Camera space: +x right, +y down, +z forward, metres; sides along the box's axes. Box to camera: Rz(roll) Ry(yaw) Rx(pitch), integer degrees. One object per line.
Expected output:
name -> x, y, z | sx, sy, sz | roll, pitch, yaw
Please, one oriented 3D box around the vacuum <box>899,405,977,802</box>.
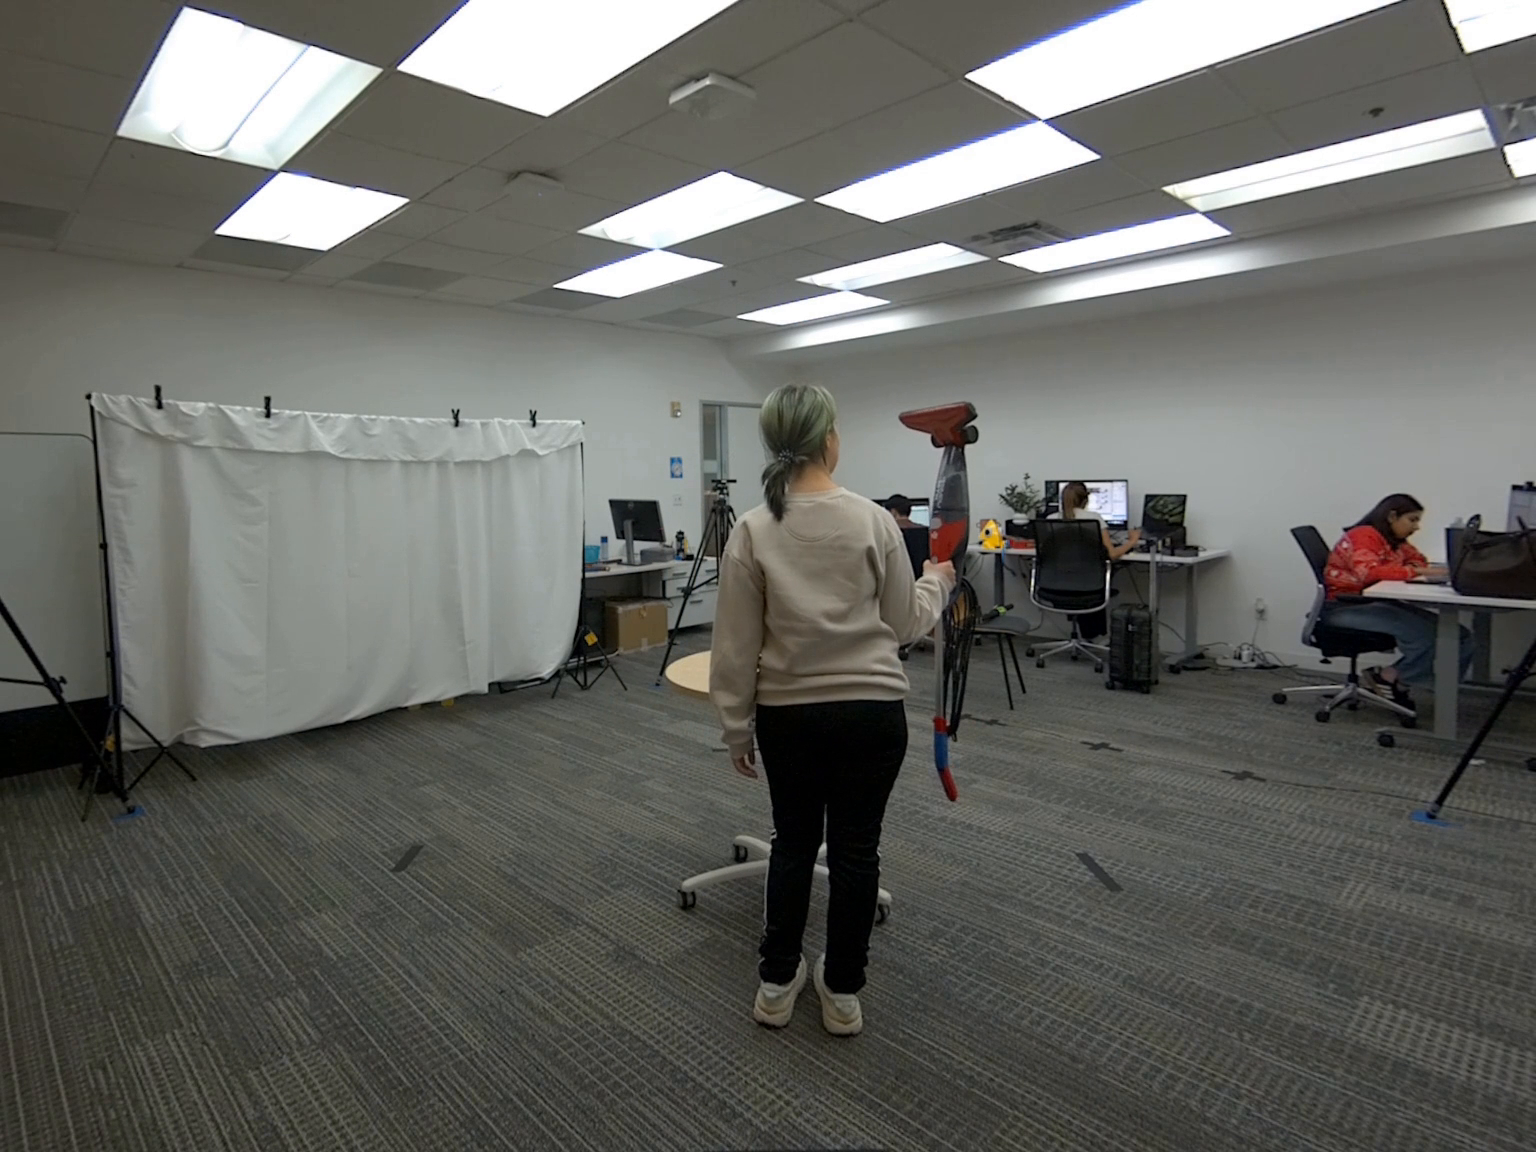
vacuum -> 0.518, 0.086, 2.399 | 0.140, 1.048, 0.259 | -2, 1, -35
